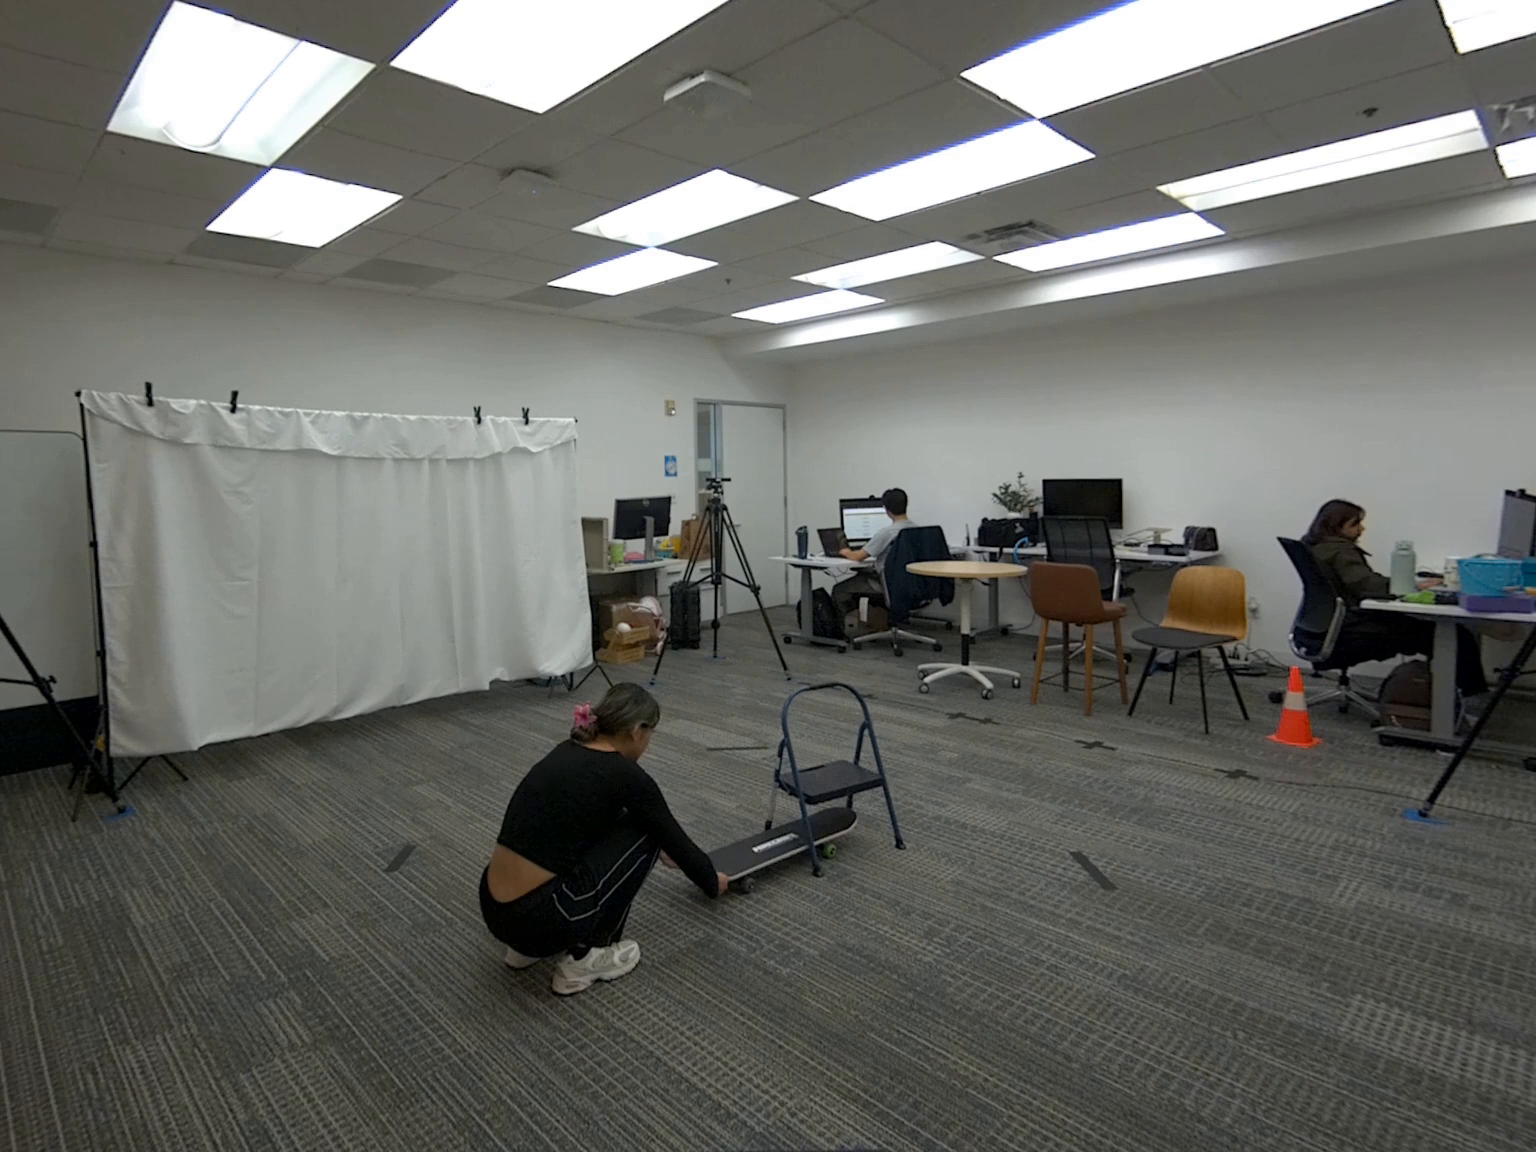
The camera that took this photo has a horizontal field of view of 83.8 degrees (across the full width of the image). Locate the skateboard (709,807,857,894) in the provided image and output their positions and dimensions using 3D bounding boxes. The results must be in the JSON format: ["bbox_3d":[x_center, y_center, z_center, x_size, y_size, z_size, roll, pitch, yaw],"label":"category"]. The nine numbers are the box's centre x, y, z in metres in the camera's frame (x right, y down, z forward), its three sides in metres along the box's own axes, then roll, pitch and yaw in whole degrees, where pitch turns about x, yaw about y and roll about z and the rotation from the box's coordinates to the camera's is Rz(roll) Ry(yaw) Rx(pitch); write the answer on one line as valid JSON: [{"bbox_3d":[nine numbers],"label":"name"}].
[{"bbox_3d":[0.025,0.984,3.072,0.765,0.110,0.199,-7,8,-41],"label":"skateboard"}]
